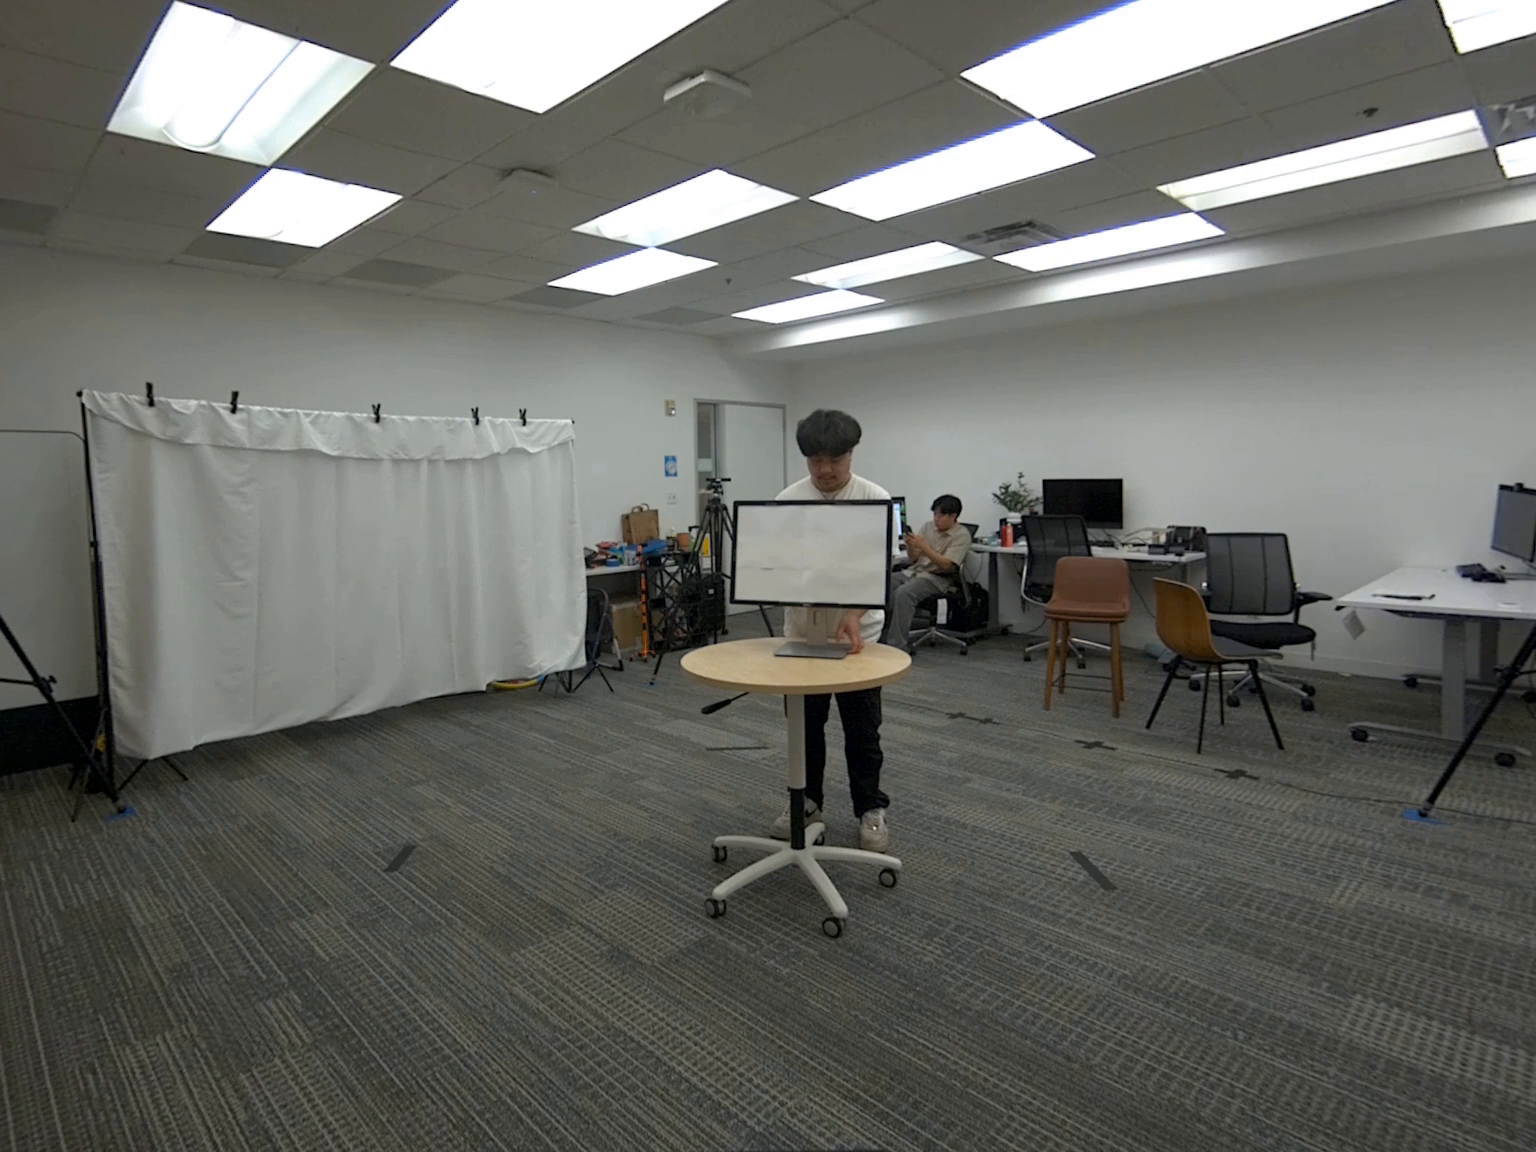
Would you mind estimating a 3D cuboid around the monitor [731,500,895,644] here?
[{"bbox_3d":[0.165,0.008,2.964,0.577,0.554,0.206,1,0,21],"label":"monitor"}]
